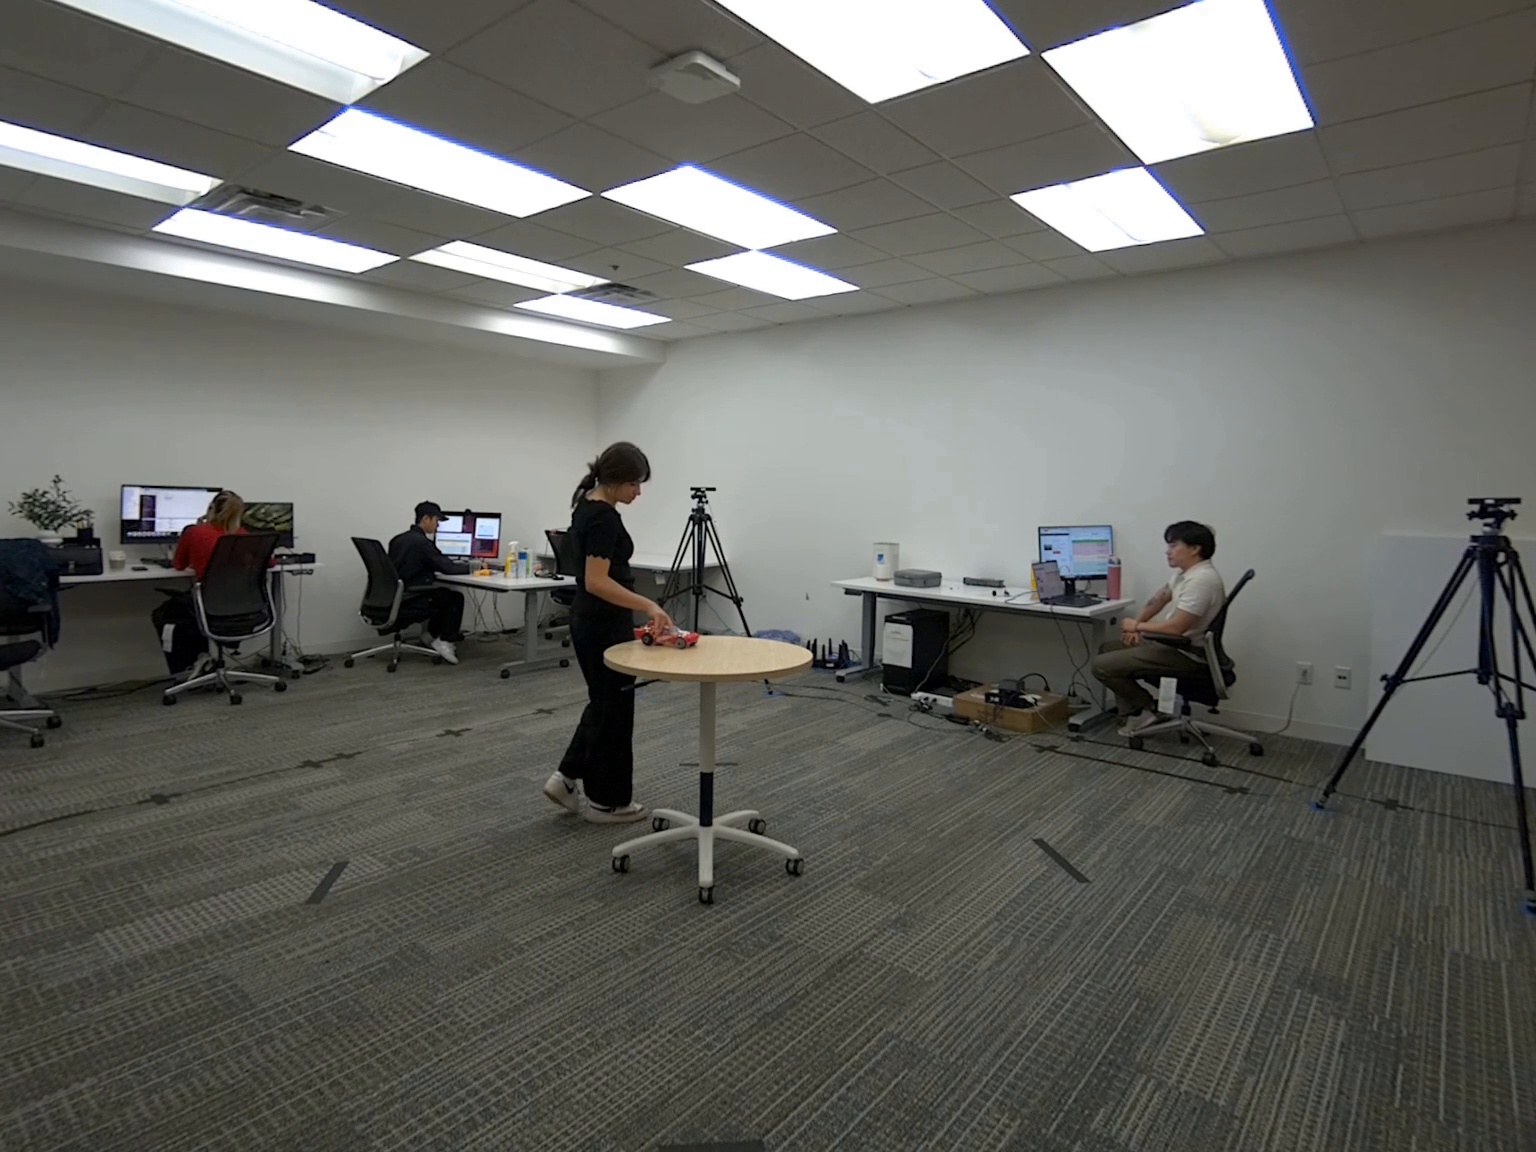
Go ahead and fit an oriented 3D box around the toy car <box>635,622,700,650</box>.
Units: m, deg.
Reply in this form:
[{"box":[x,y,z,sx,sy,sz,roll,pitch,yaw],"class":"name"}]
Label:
[{"box":[-0.412,0.232,3.290,0.261,0.082,0.128,15,10,22],"class":"toy car"}]
